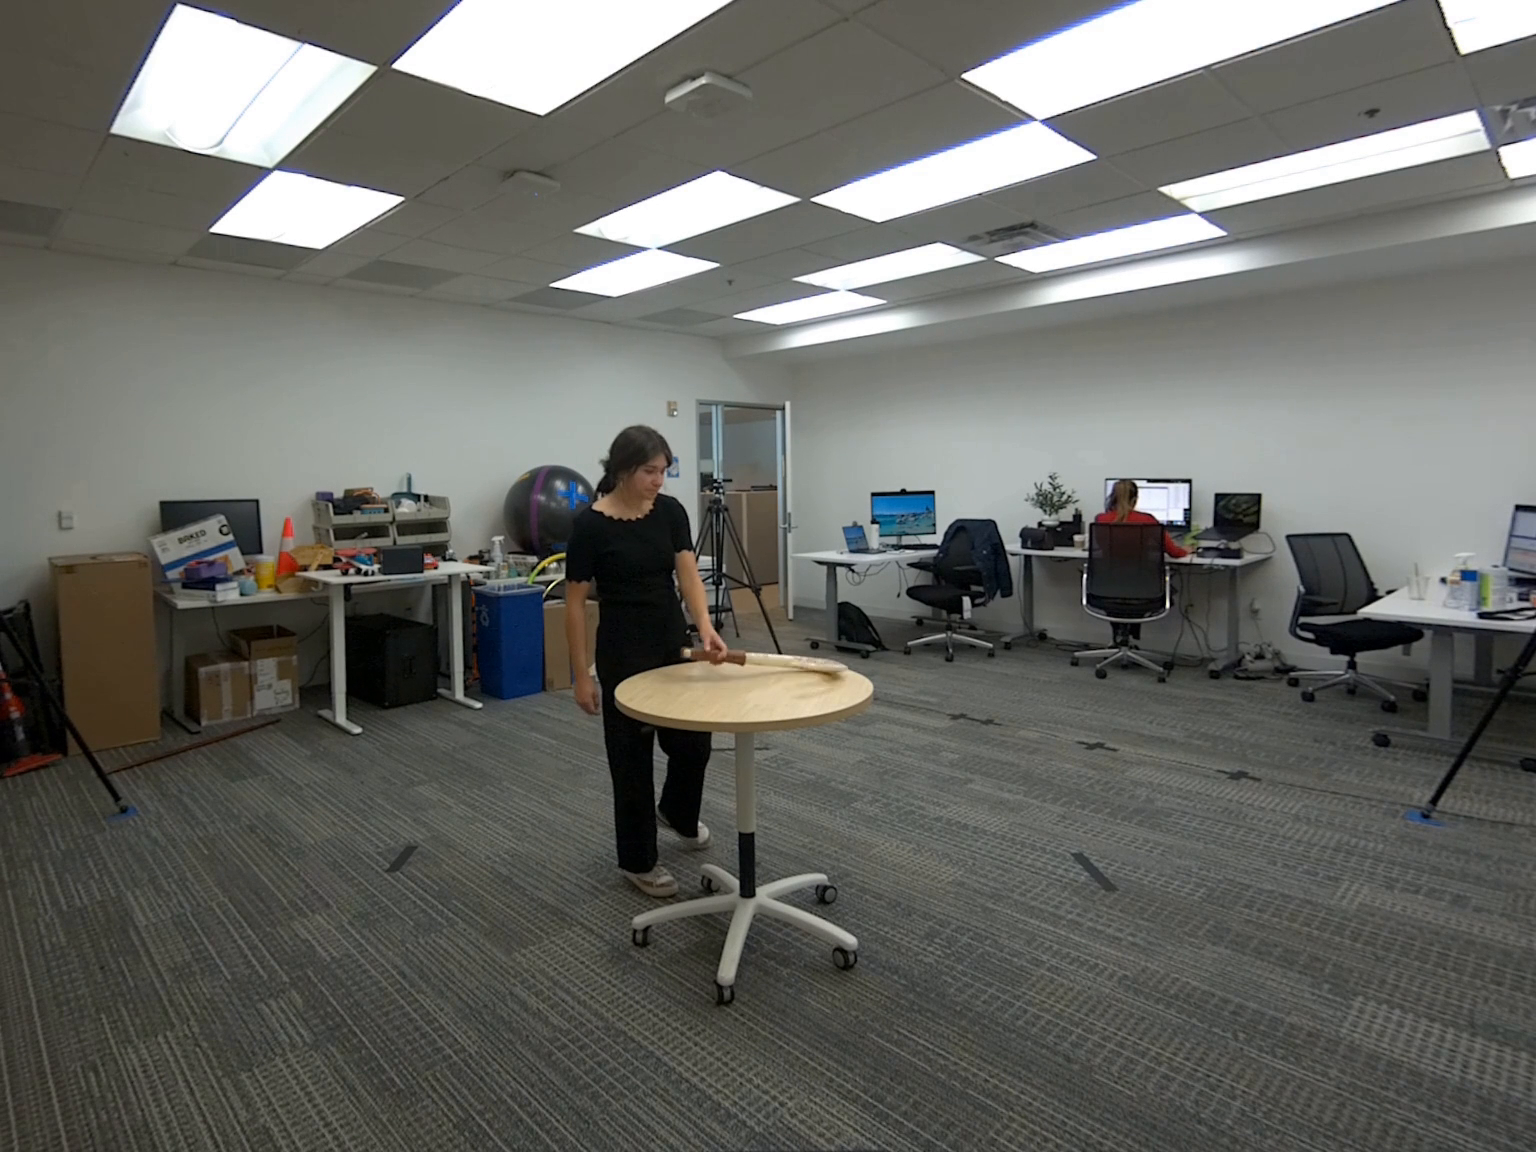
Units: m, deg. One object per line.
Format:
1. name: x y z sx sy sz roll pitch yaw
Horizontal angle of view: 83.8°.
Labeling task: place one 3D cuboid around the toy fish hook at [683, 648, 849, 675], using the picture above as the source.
1. toy fish hook: -0.007 0.255 2.611 0.500 0.048 0.226 5 -7 -13
